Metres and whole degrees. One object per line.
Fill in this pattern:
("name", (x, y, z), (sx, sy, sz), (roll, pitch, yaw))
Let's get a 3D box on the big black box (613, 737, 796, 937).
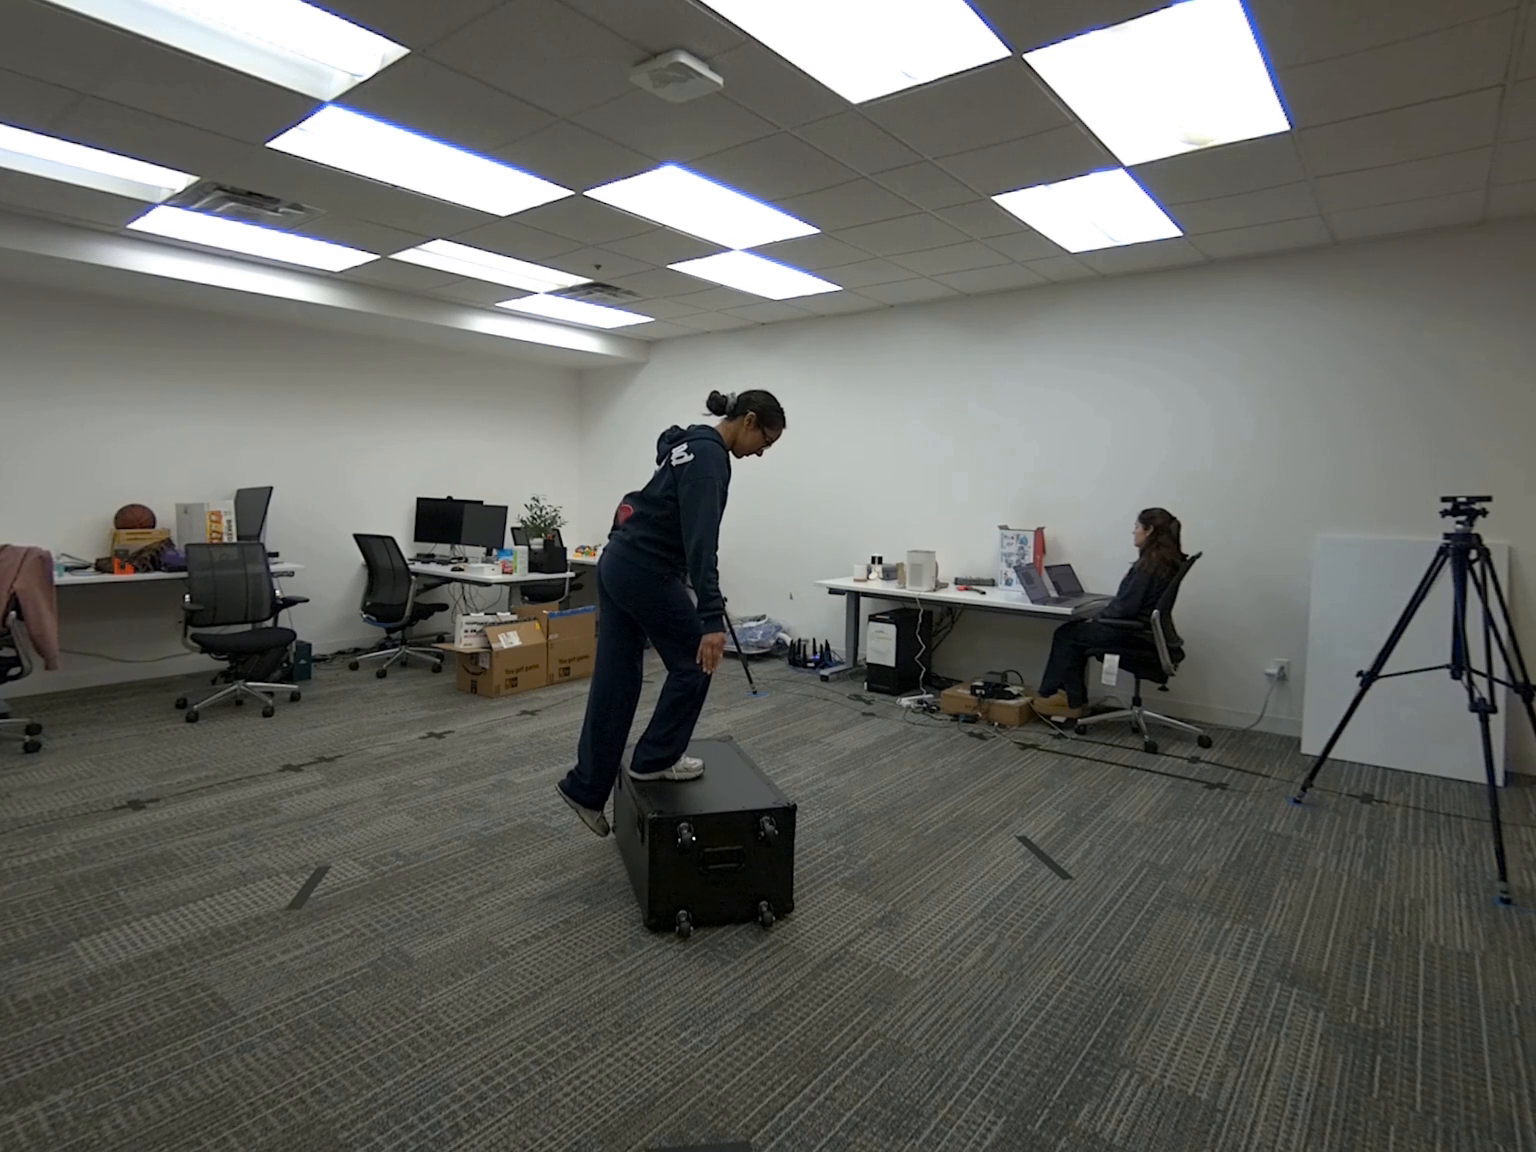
("big black box", (-0.261, 0.885, 3.017), (0.512, 0.395, 0.880), (-1, 5, -18))
